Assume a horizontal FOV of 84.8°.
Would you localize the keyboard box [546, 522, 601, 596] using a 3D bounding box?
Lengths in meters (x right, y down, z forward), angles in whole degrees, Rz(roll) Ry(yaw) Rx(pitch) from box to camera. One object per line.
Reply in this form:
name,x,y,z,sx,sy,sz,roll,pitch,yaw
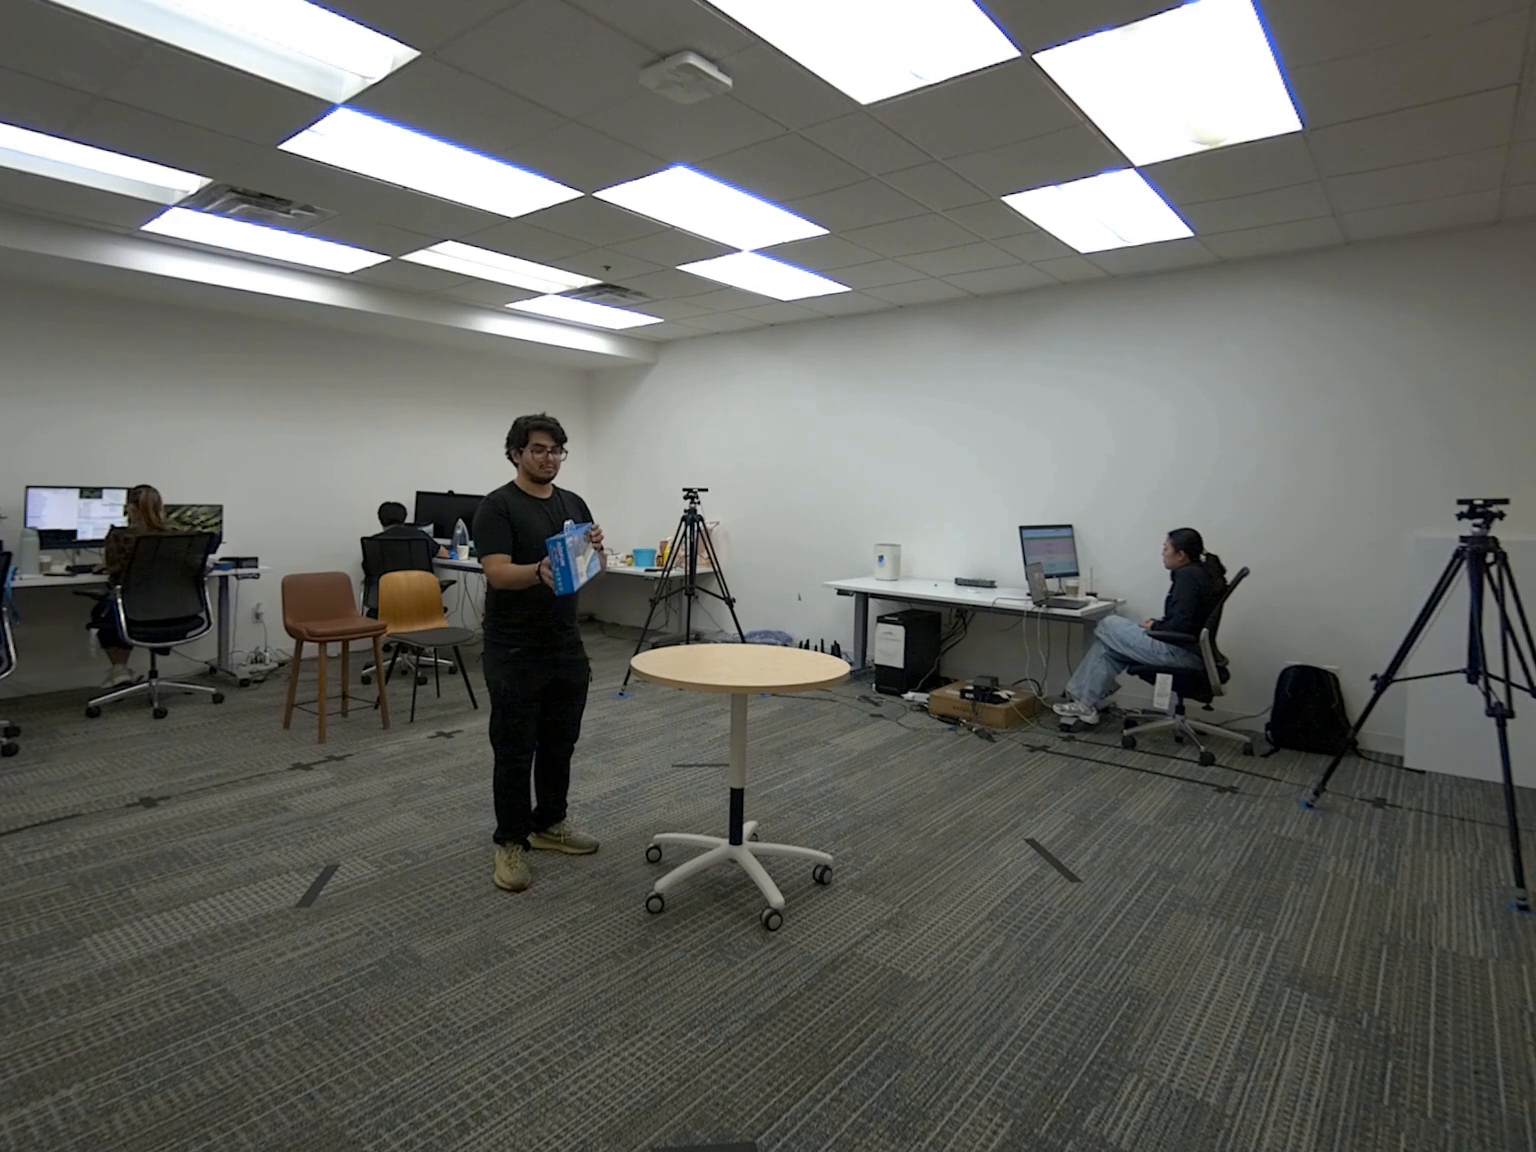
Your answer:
keyboard box,-0.631,-0.064,2.754,0.059,0.175,0.439,-7,7,-1
